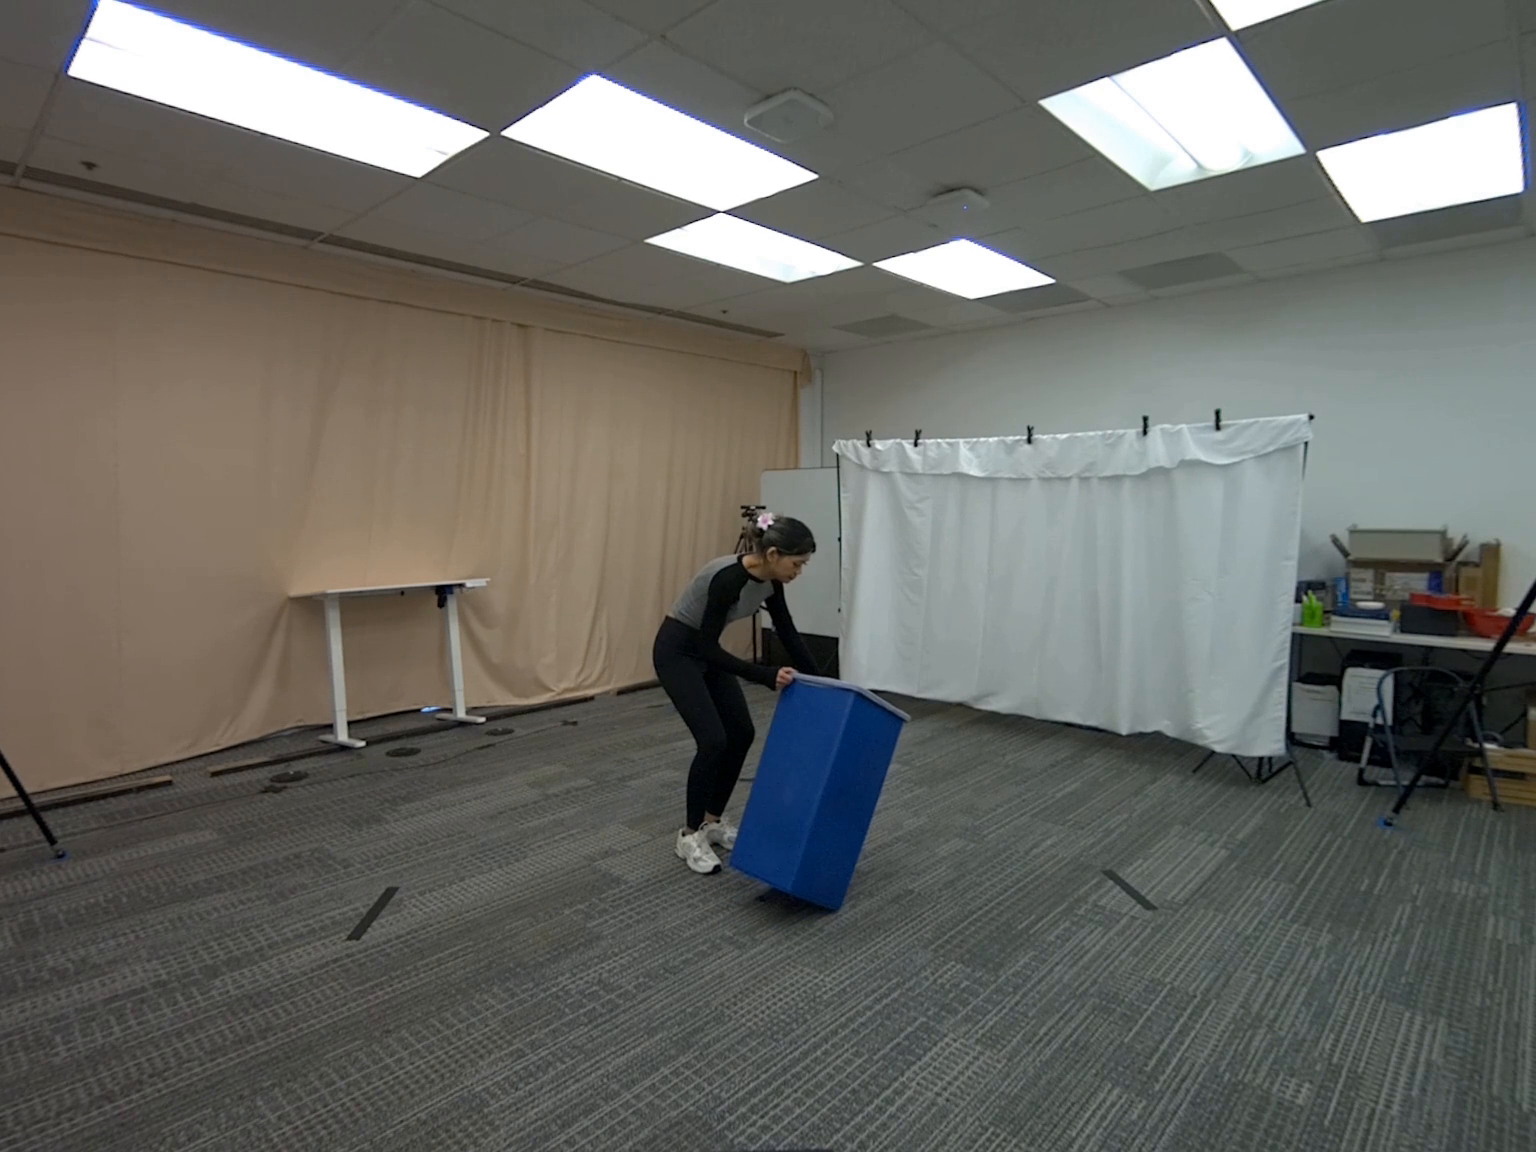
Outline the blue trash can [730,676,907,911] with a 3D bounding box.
[{"bbox_3d":[0.172,0.755,3.006,0.386,0.716,0.364,3,-23,46],"label":"blue trash can"}]
